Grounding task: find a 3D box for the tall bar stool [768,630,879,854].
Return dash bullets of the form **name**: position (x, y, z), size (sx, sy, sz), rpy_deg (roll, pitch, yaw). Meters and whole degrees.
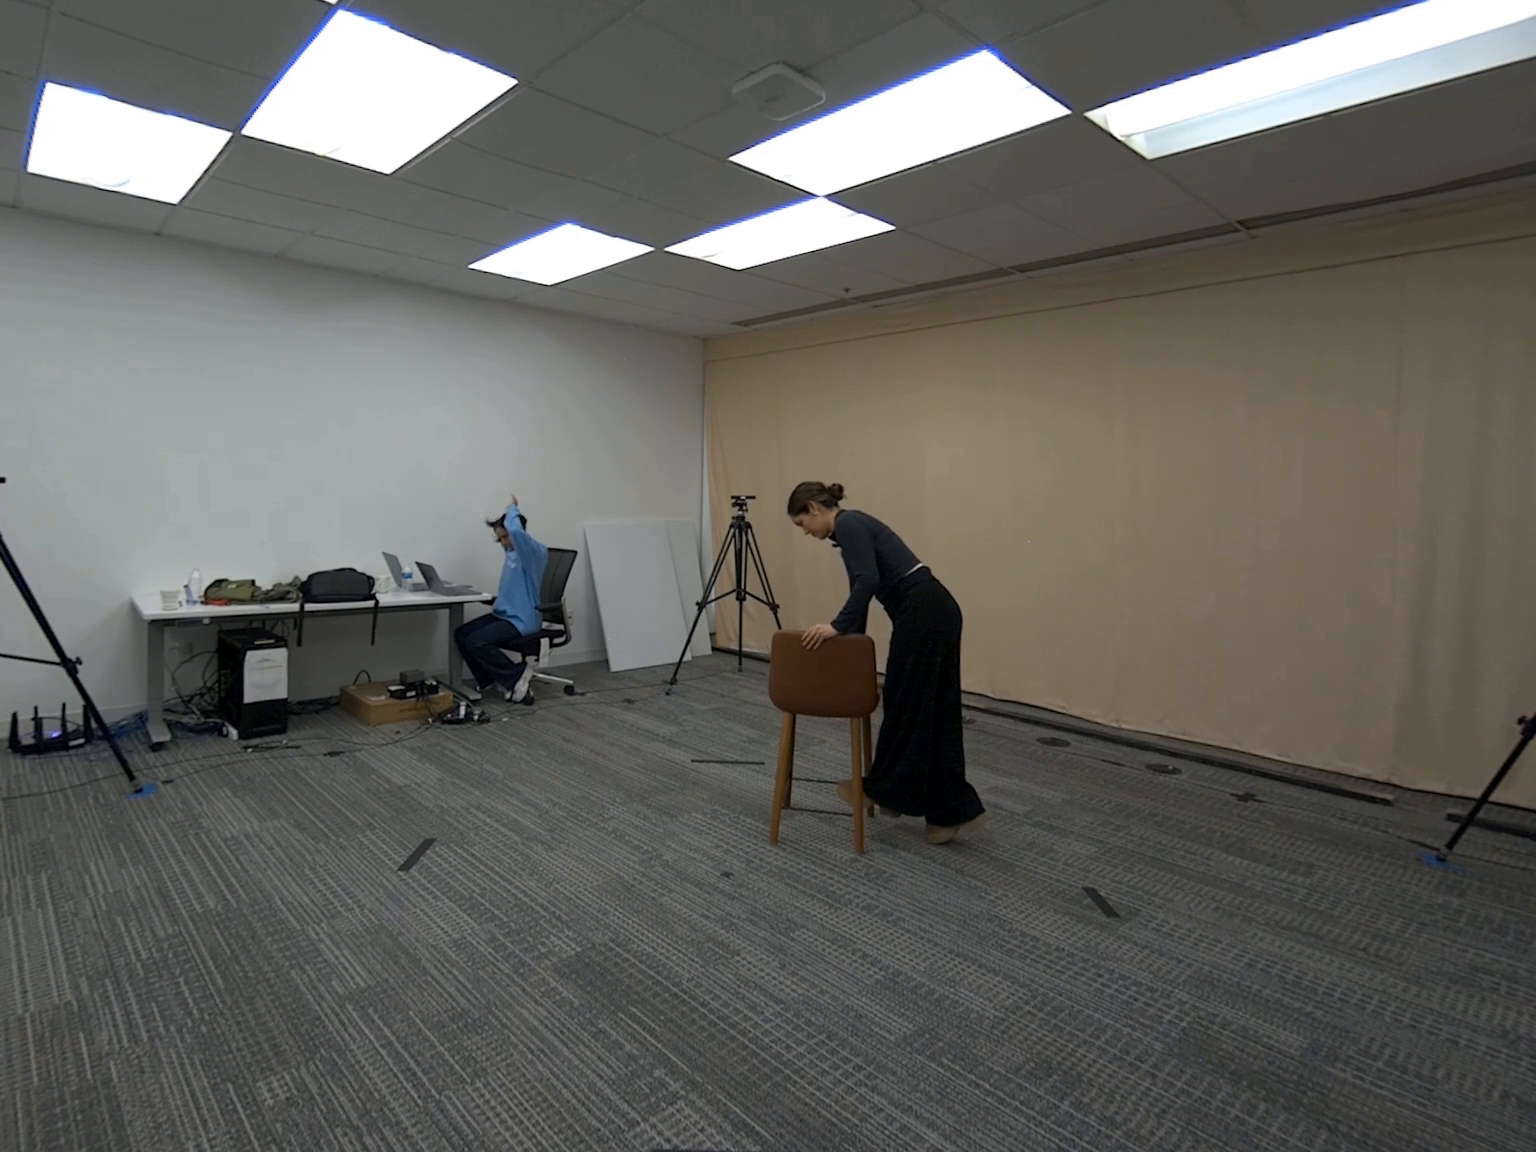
- **tall bar stool**: position (0.234, 0.635, 3.538), size (0.461, 0.887, 0.464), rpy_deg (2, 5, 12)
